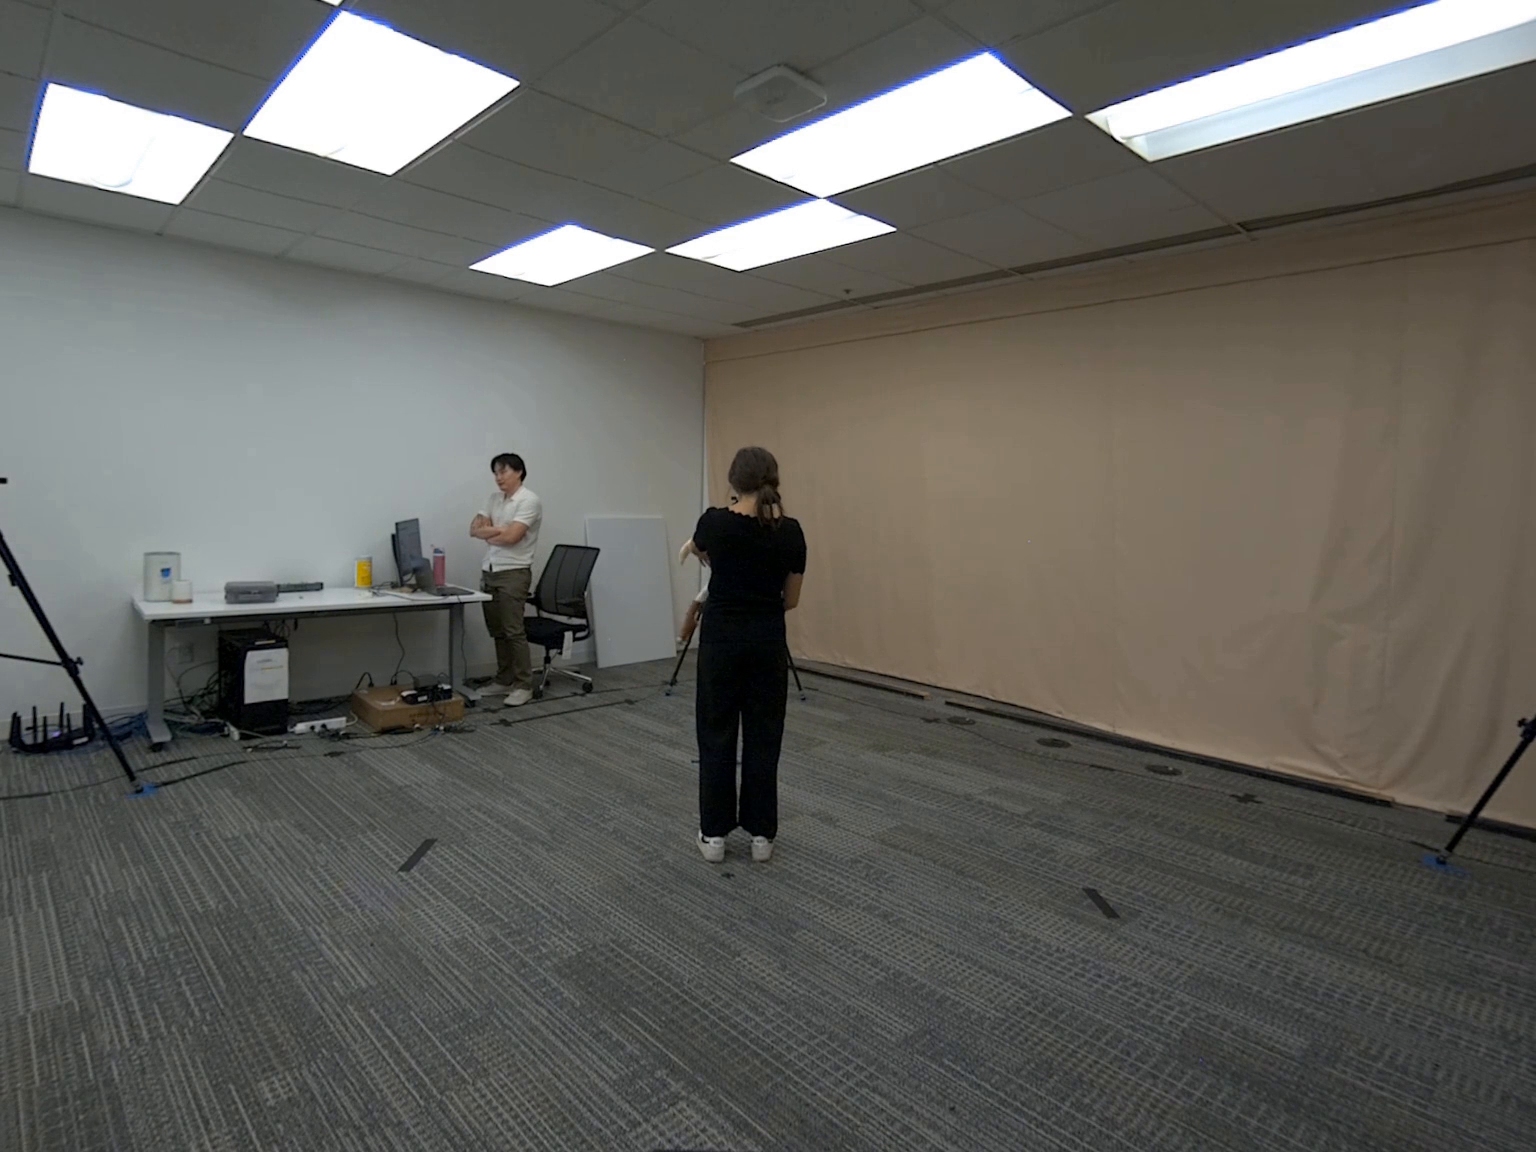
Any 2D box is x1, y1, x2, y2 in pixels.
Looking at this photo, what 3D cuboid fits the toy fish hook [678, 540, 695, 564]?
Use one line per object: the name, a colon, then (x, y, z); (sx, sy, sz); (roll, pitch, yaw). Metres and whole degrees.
toy fish hook: (-0.335, 0.030, 3.623); (0.223, 0.508, 0.048); (24, -6, -6)
